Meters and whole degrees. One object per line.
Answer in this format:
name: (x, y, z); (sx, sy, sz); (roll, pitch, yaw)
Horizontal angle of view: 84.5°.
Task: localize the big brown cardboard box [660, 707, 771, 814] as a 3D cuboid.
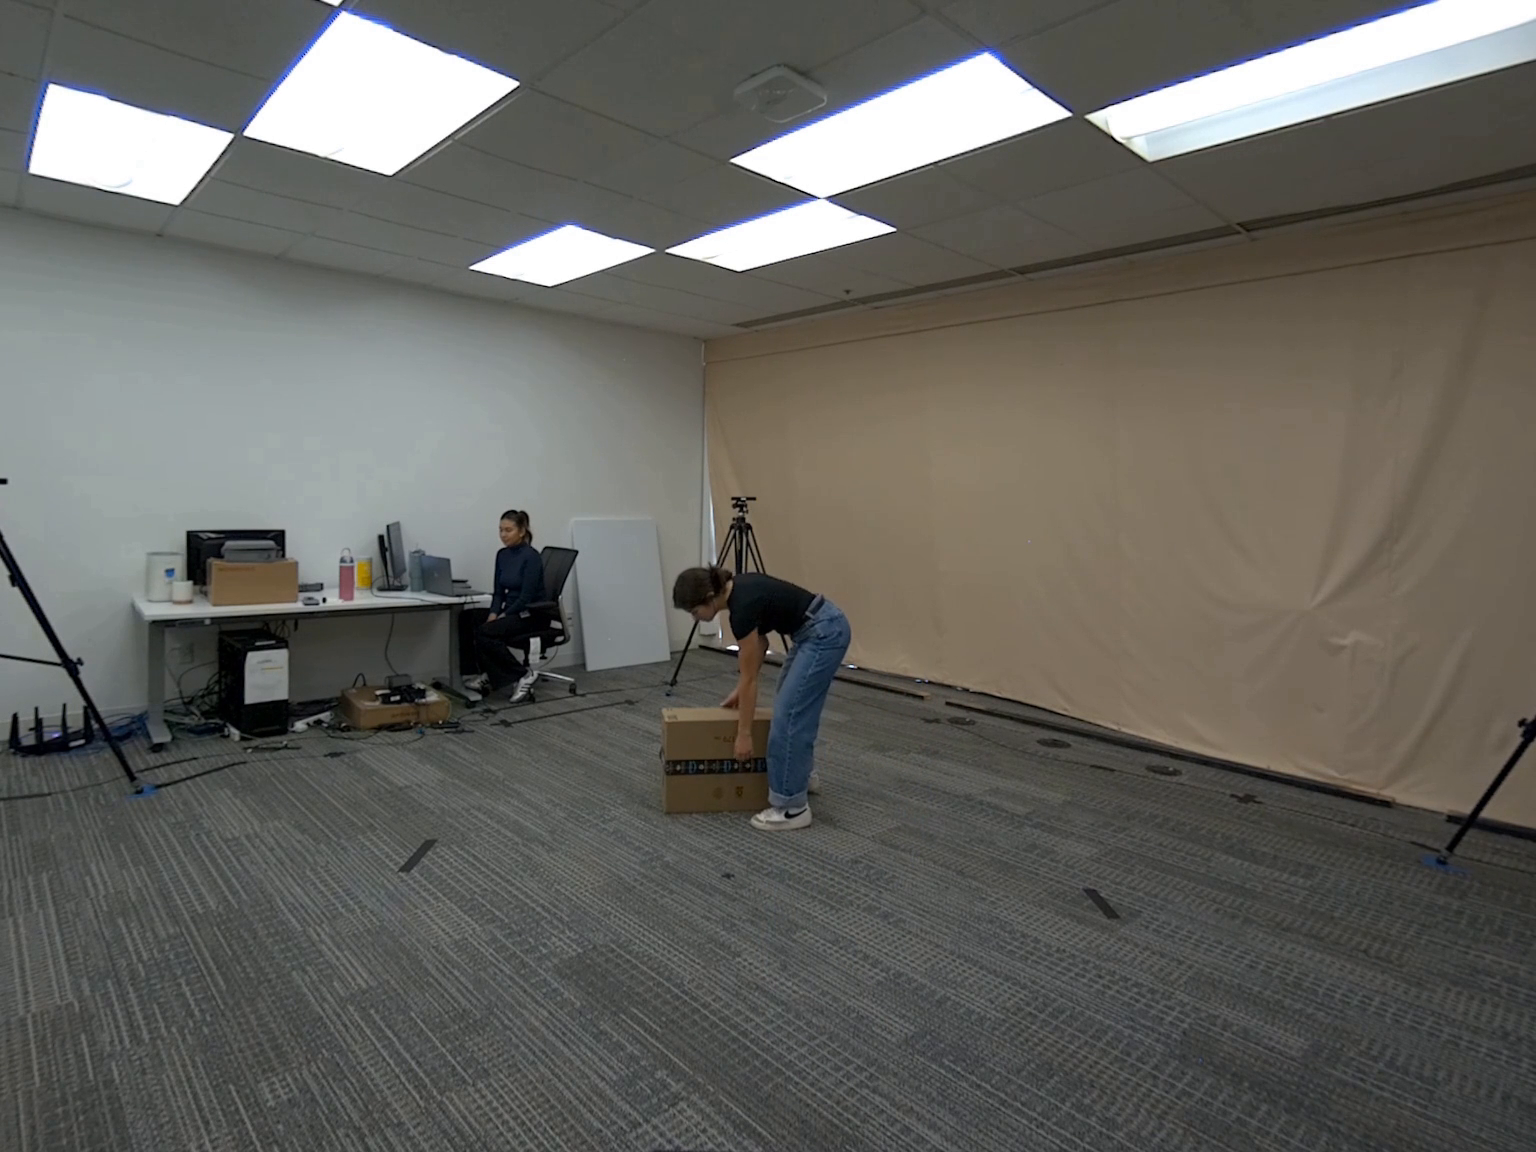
big brown cardboard box: (-0.213, 0.832, 3.838); (0.584, 0.416, 0.235); (2, 4, -9)
